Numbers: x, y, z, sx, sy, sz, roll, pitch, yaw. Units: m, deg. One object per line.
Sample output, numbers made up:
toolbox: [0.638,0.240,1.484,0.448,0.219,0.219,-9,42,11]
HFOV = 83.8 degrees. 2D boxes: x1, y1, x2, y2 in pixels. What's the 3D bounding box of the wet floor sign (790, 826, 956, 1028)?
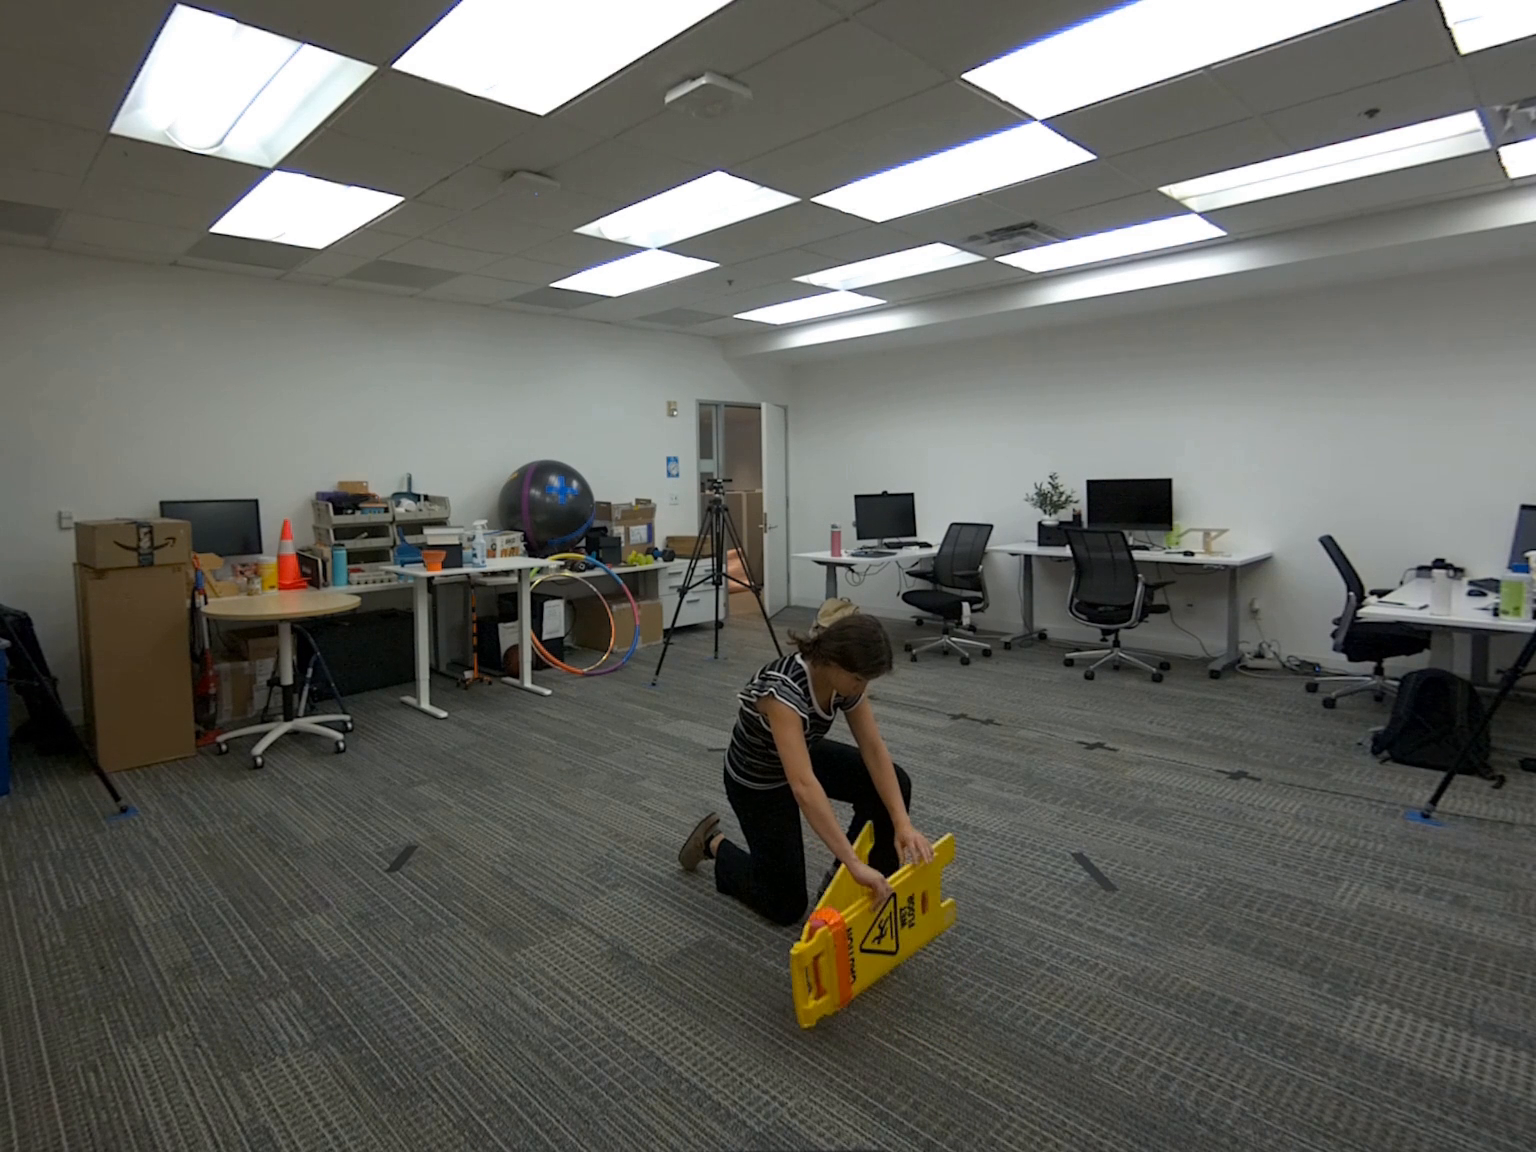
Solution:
wet floor sign: [0.252,0.947,2.302,0.297,0.280,0.633,-2,9,35]
